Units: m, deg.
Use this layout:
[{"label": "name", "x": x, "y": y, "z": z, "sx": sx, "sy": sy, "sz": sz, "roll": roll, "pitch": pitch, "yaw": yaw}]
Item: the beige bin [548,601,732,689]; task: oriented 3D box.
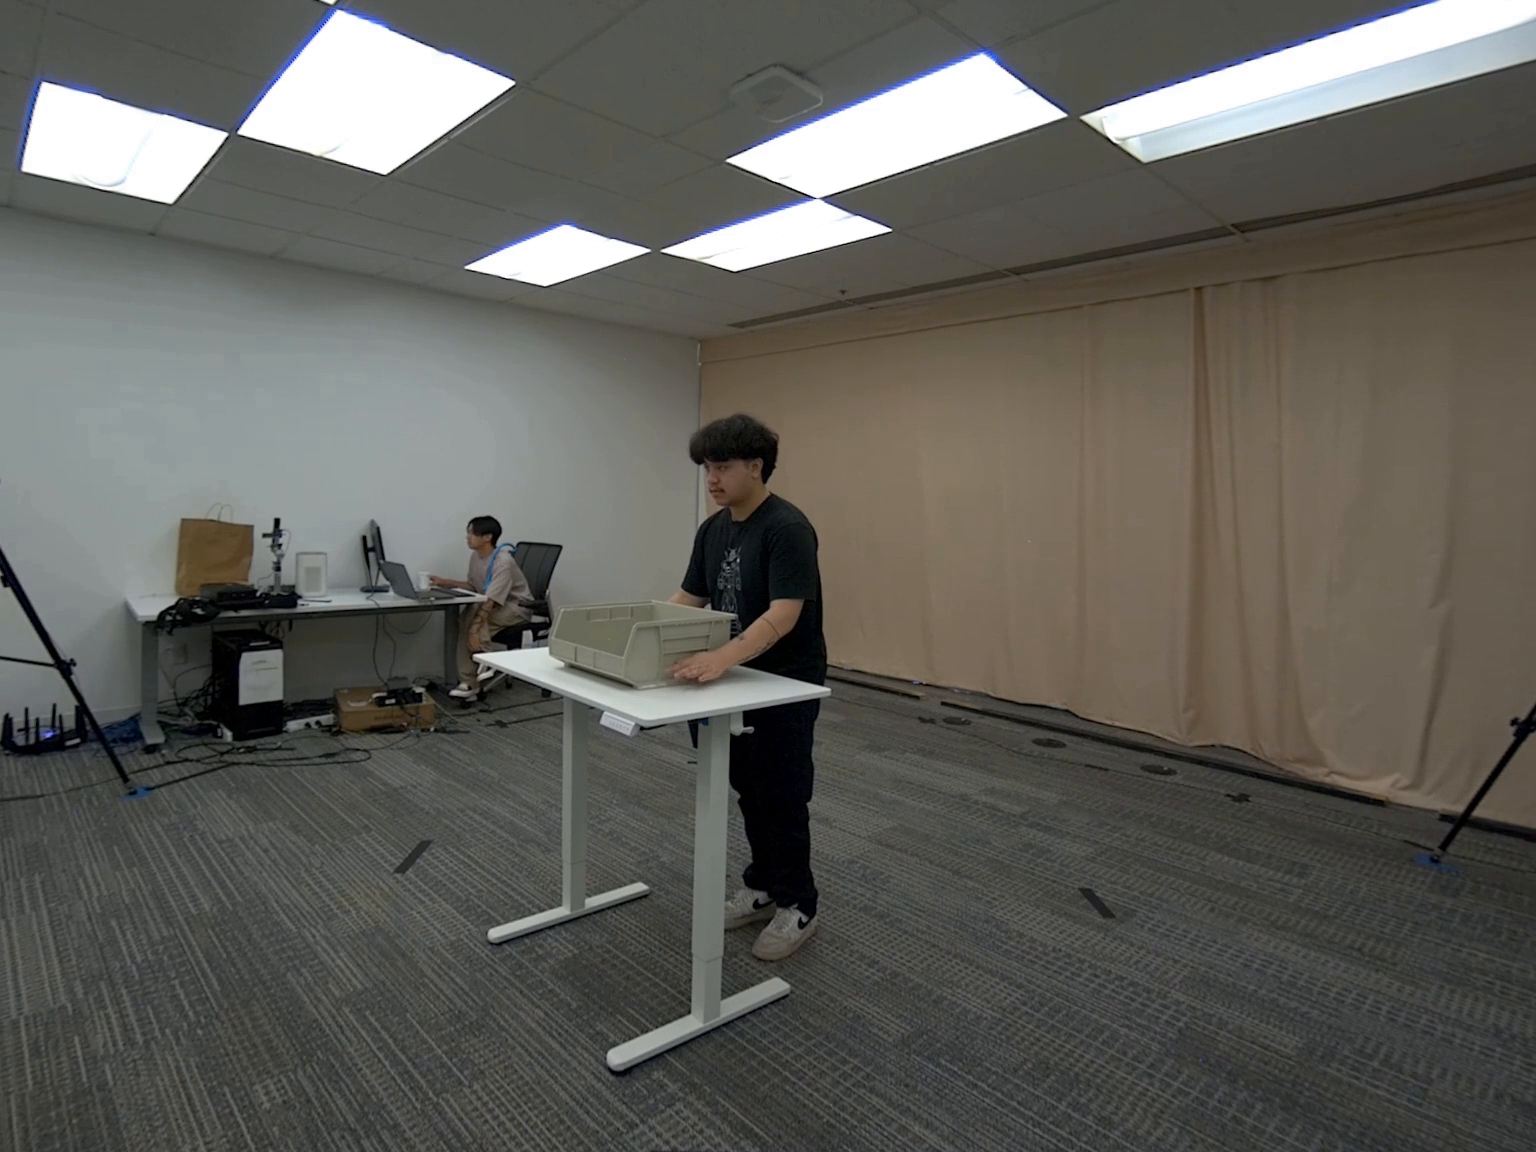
[{"label": "beige bin", "x": -0.383, "y": 0.192, "z": 2.425, "sx": 0.368, "sy": 0.189, "sz": 0.433, "roll": 0, "pitch": 4, "yaw": -42}]
